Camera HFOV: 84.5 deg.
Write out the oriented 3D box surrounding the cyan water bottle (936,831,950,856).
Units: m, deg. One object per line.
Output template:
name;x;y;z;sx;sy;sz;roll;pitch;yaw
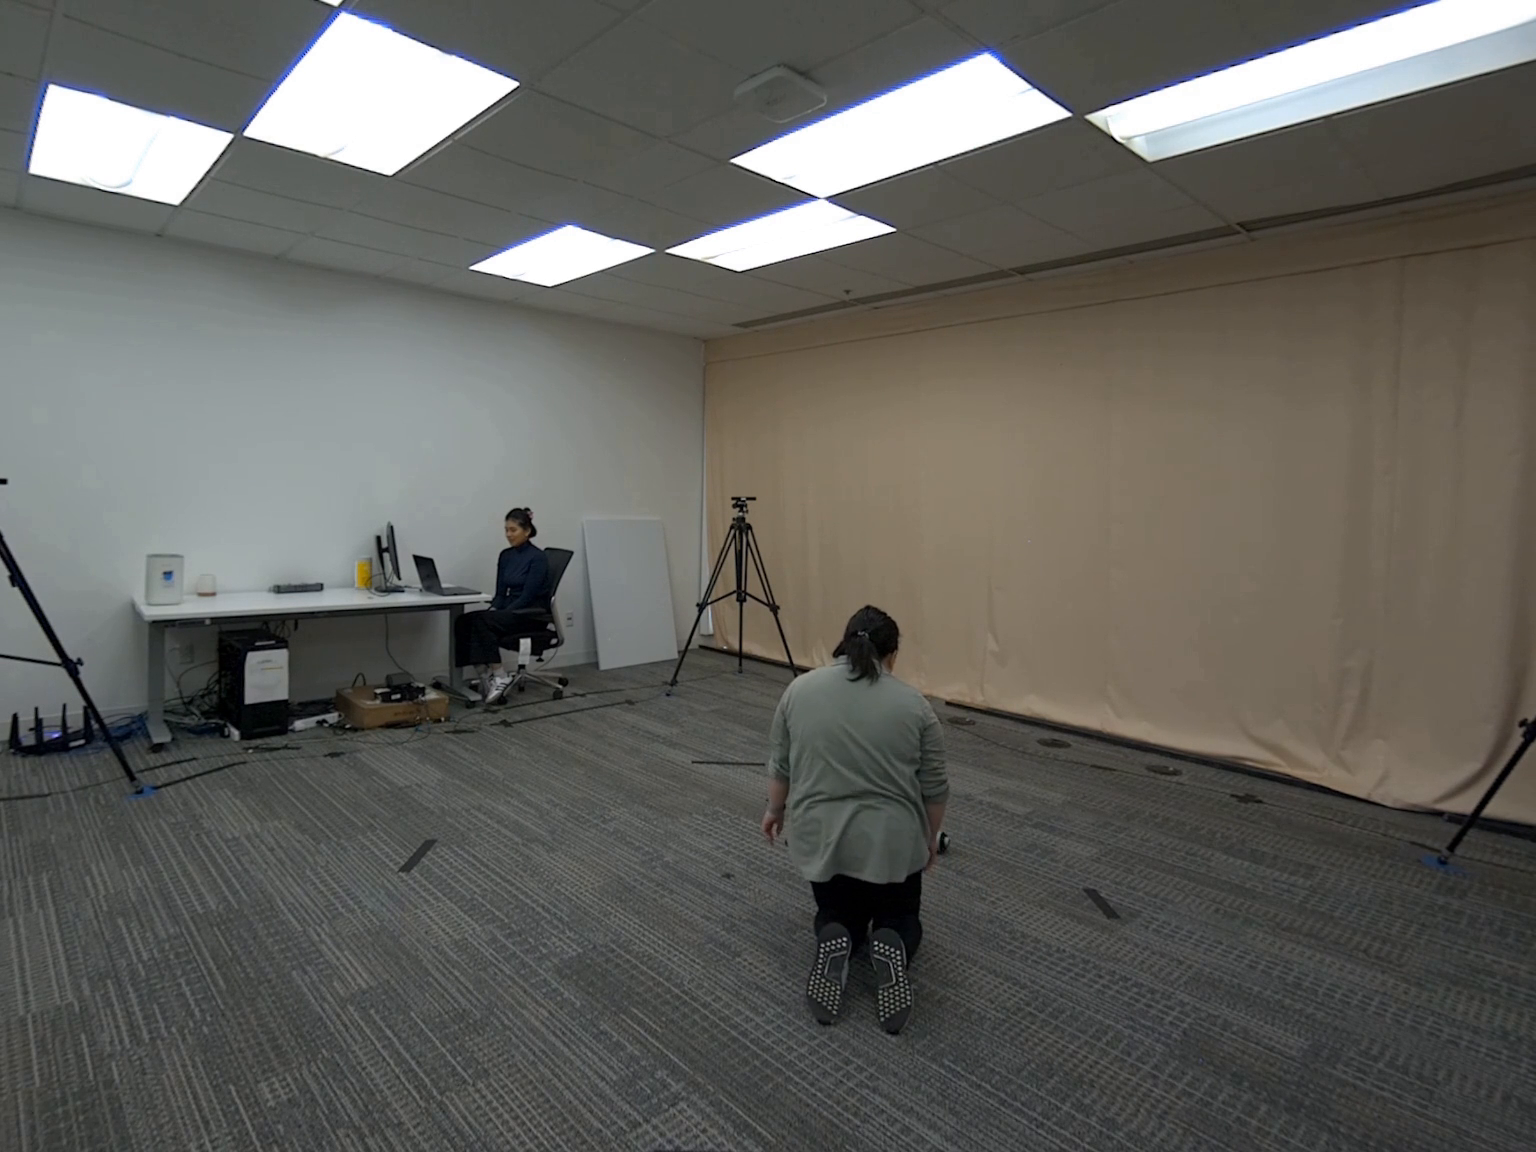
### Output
cyan water bottle;0.586;1.056;3.404;0.288;0.092;0.091;3;4;20
